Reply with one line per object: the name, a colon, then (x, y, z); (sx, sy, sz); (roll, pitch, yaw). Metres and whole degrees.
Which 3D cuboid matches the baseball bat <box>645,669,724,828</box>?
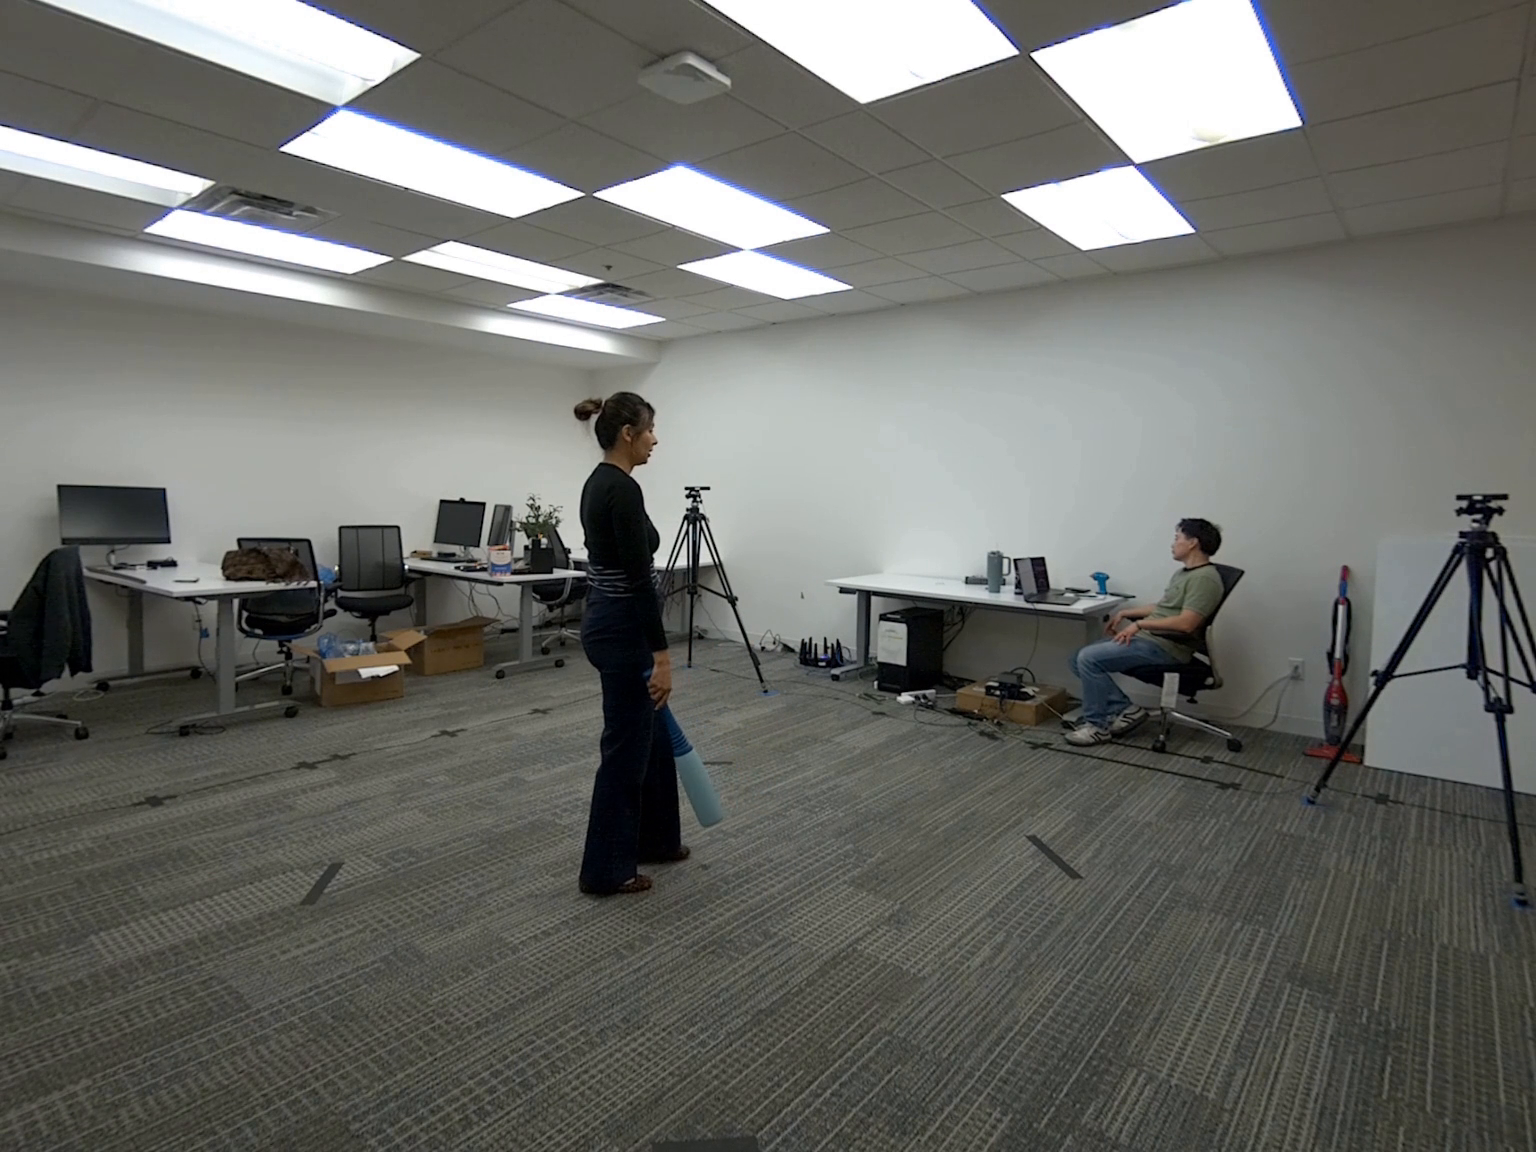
baseball bat: (-0.289, 0.557, 2.769); (0.089, 0.542, 0.089); (-22, 1, -1)
